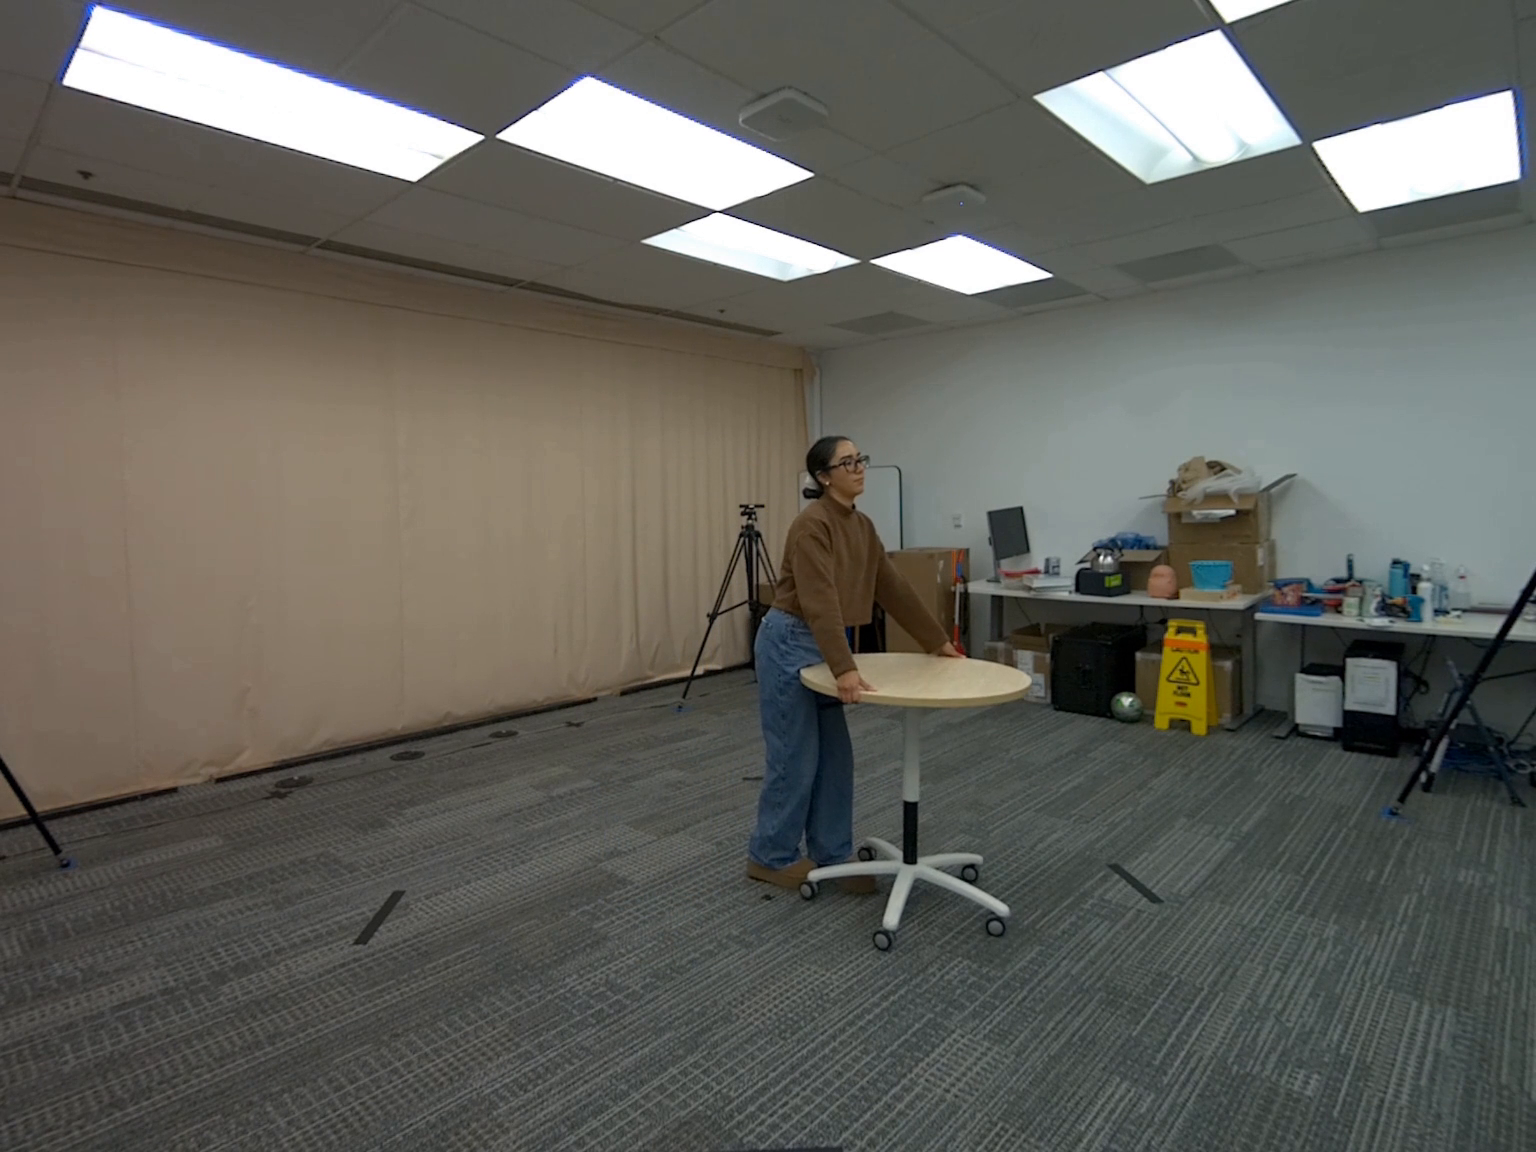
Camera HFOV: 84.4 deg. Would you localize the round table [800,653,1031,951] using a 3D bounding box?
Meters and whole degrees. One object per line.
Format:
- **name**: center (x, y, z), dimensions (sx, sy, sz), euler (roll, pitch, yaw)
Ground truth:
- **round table**: center (0.514, 0.731, 2.894), dimensions (0.784, 0.784, 0.788), euler (0, 4, -2)
